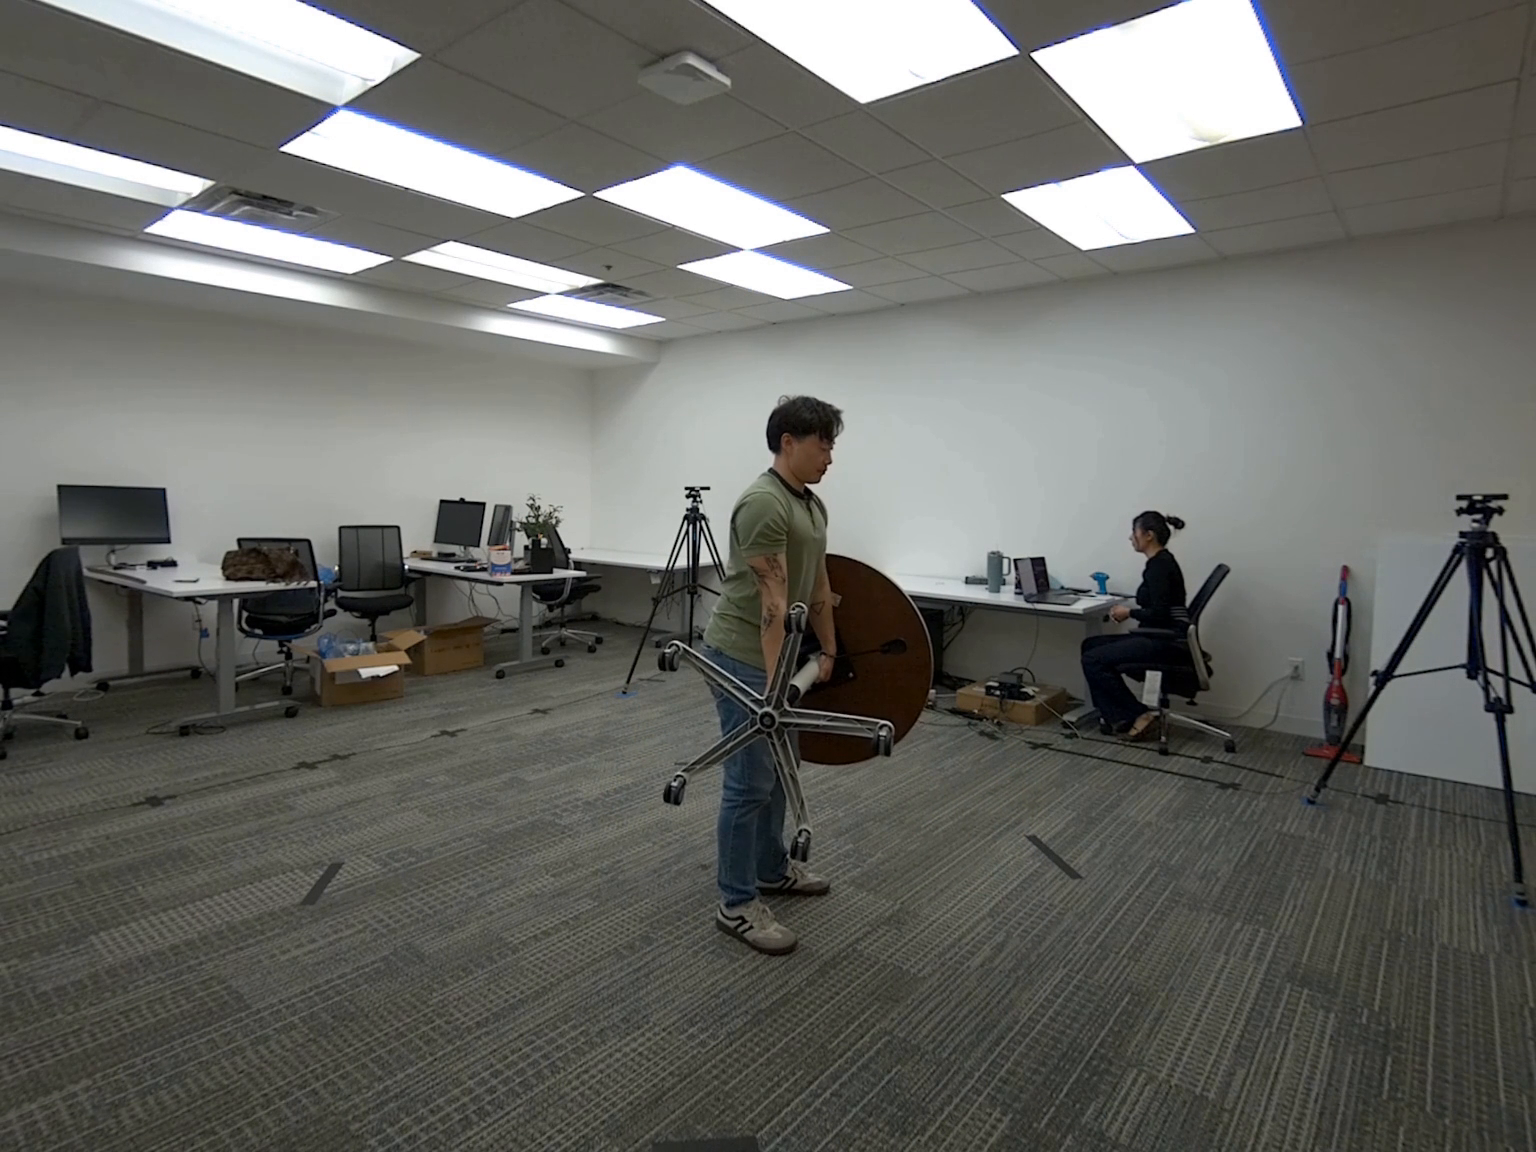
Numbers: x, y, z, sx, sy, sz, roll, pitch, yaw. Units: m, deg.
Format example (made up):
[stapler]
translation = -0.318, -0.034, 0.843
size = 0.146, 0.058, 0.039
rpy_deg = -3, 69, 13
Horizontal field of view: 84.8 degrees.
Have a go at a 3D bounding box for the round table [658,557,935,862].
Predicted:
[round table]
translation = 0.078, 0.367, 2.656
size = 0.779, 0.758, 0.784
rpy_deg = 2, 8, 18
